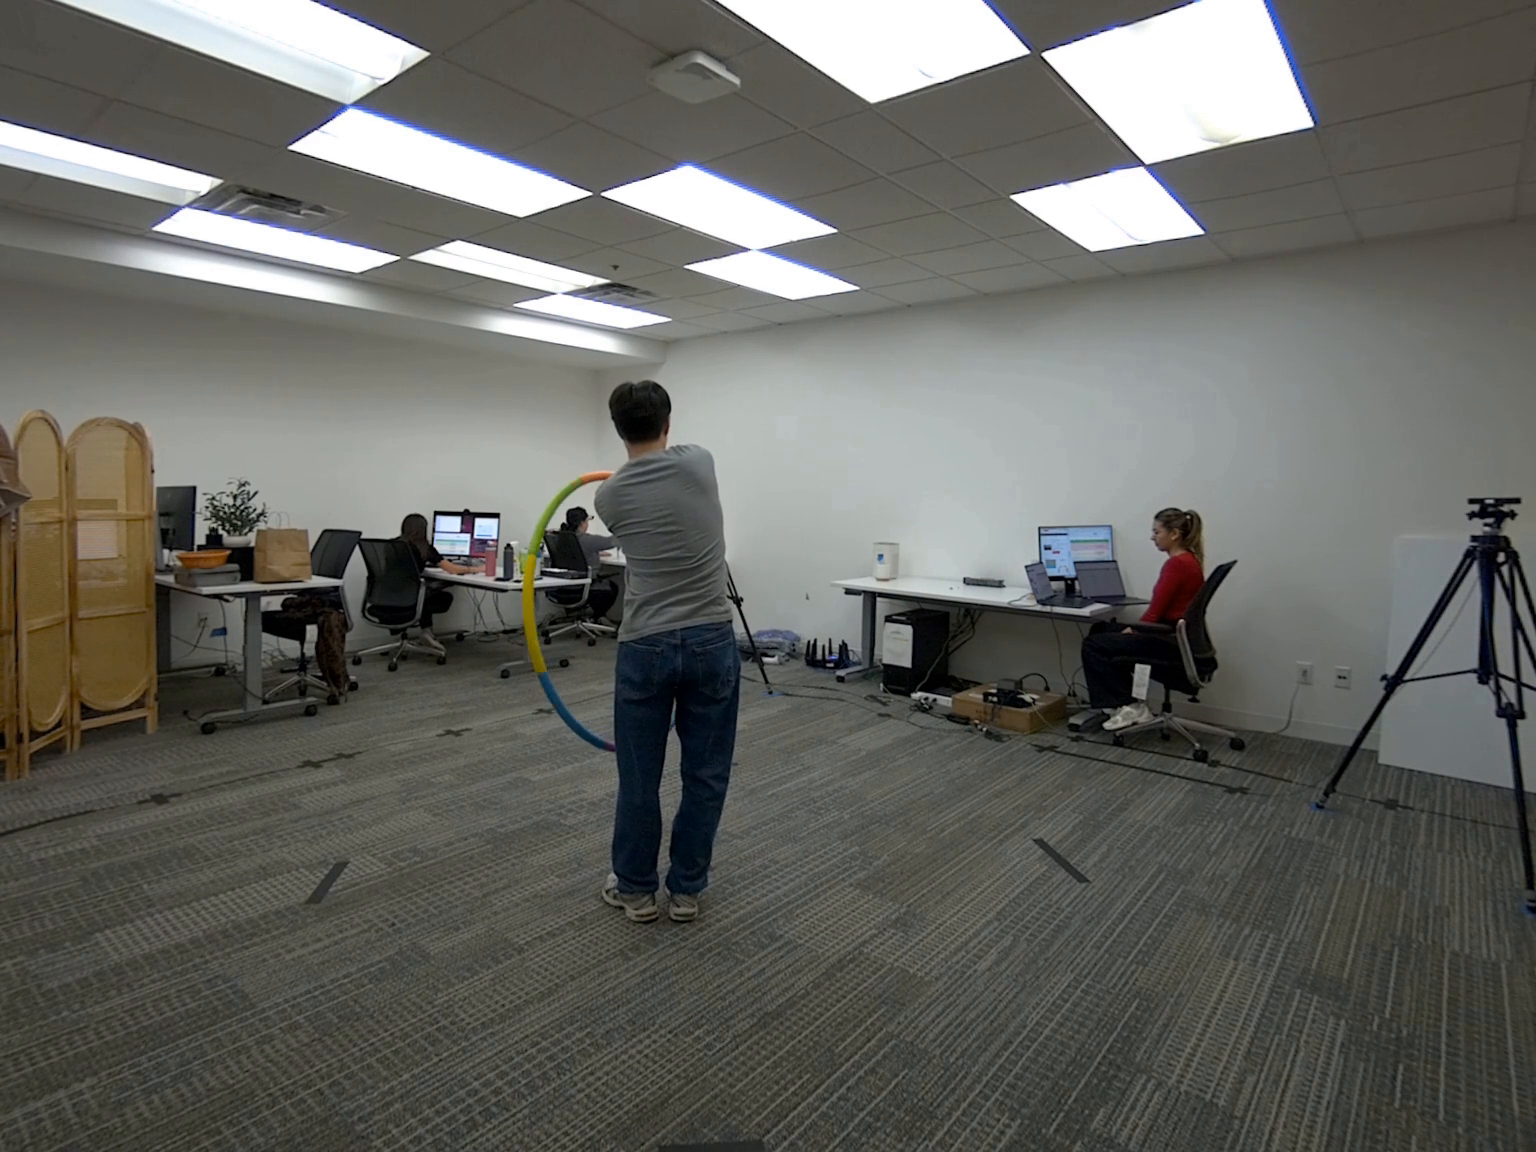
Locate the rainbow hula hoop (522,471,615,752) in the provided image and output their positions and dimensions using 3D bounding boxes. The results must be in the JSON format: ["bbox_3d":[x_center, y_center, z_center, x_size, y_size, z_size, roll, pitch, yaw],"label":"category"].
[{"bbox_3d":[-0.535,0.096,3.048,0.036,0.982,0.953,-11,-3,31],"label":"rainbow hula hoop"}]
